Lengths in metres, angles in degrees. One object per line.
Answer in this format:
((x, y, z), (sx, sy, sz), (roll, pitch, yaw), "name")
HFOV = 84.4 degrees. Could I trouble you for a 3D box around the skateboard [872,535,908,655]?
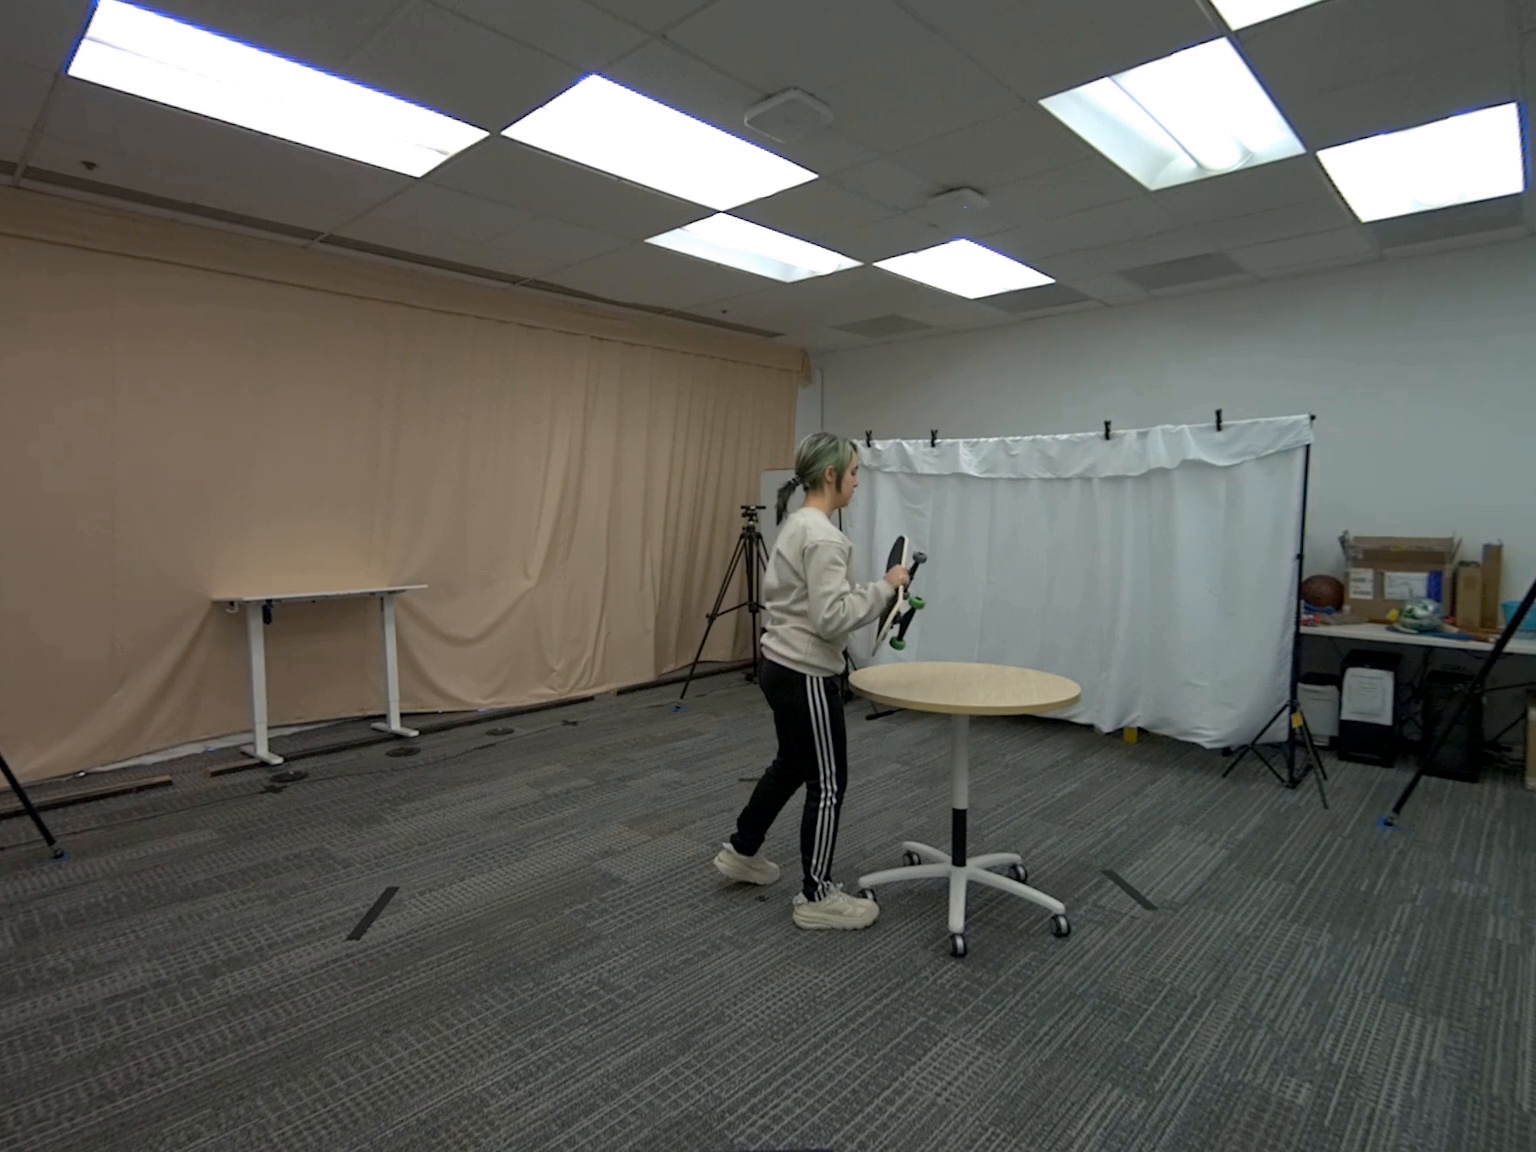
((0.451, 0.058, 2.826), (0.111, 0.192, 0.785), (22, 23, 2), "skateboard")
